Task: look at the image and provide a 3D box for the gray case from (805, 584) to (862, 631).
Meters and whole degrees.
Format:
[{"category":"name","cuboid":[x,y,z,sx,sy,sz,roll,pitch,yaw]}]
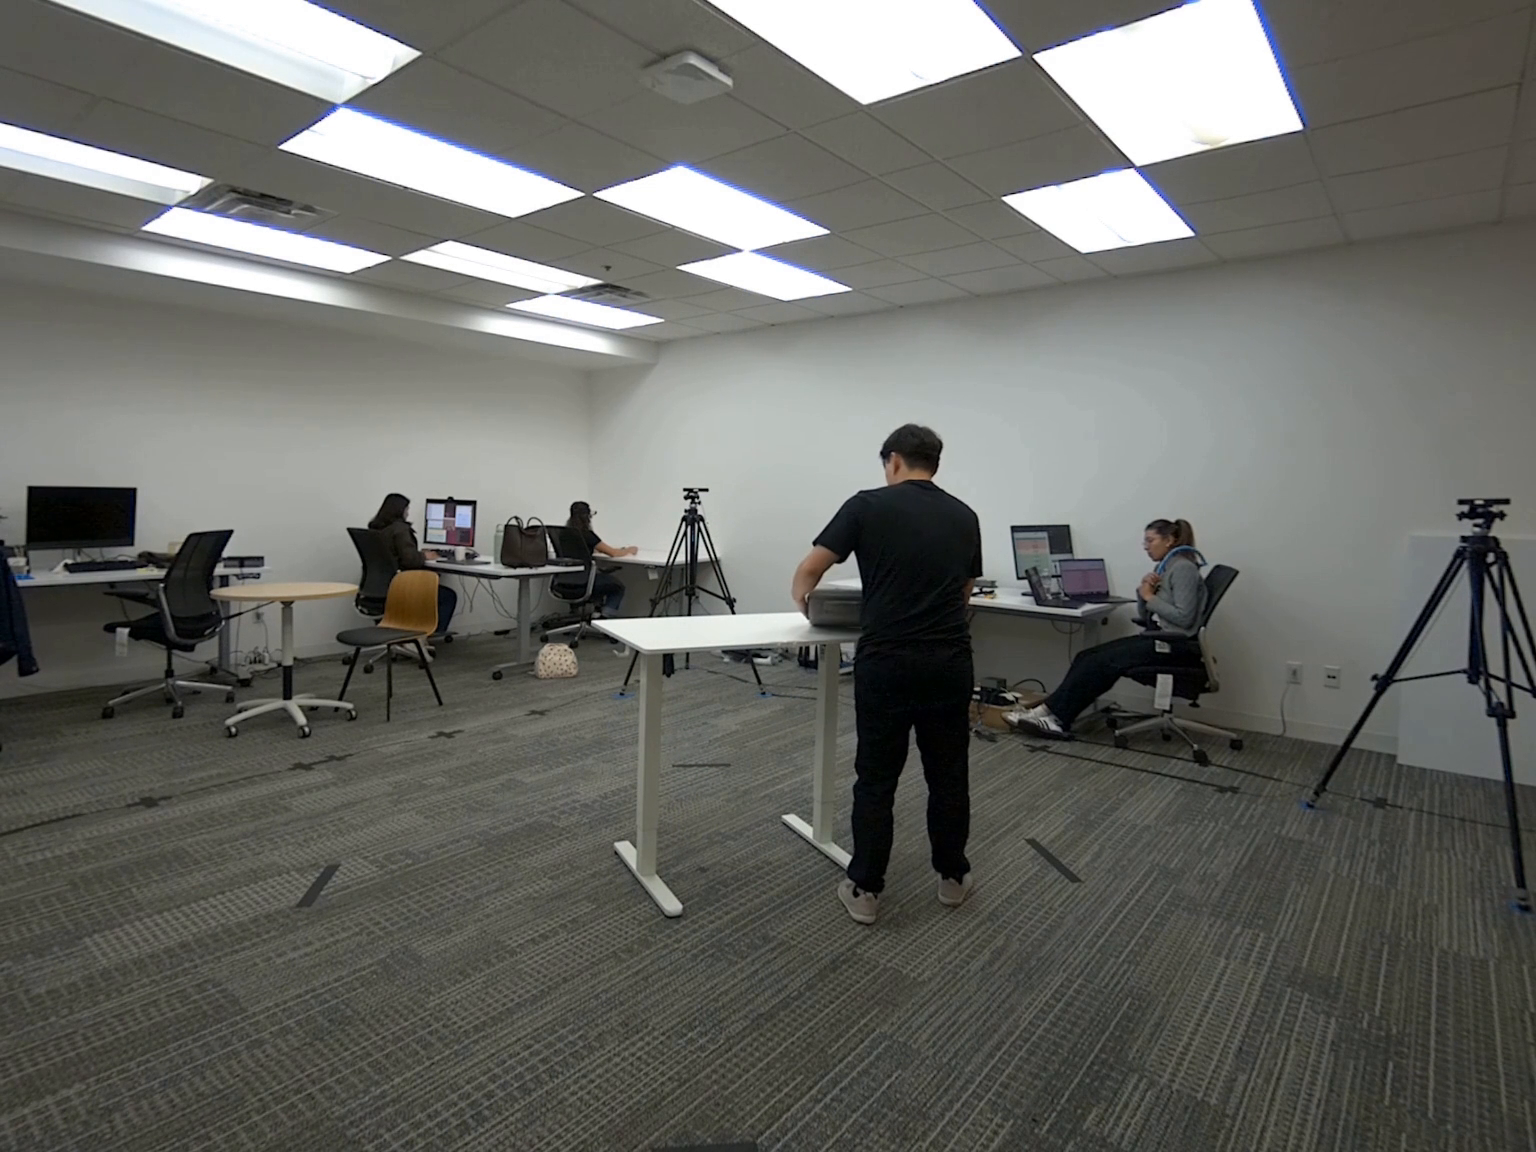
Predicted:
[{"category":"gray case","cuboid":[0.261,0.114,3.134,0.259,0.105,0.256,3,-12,6]}]
